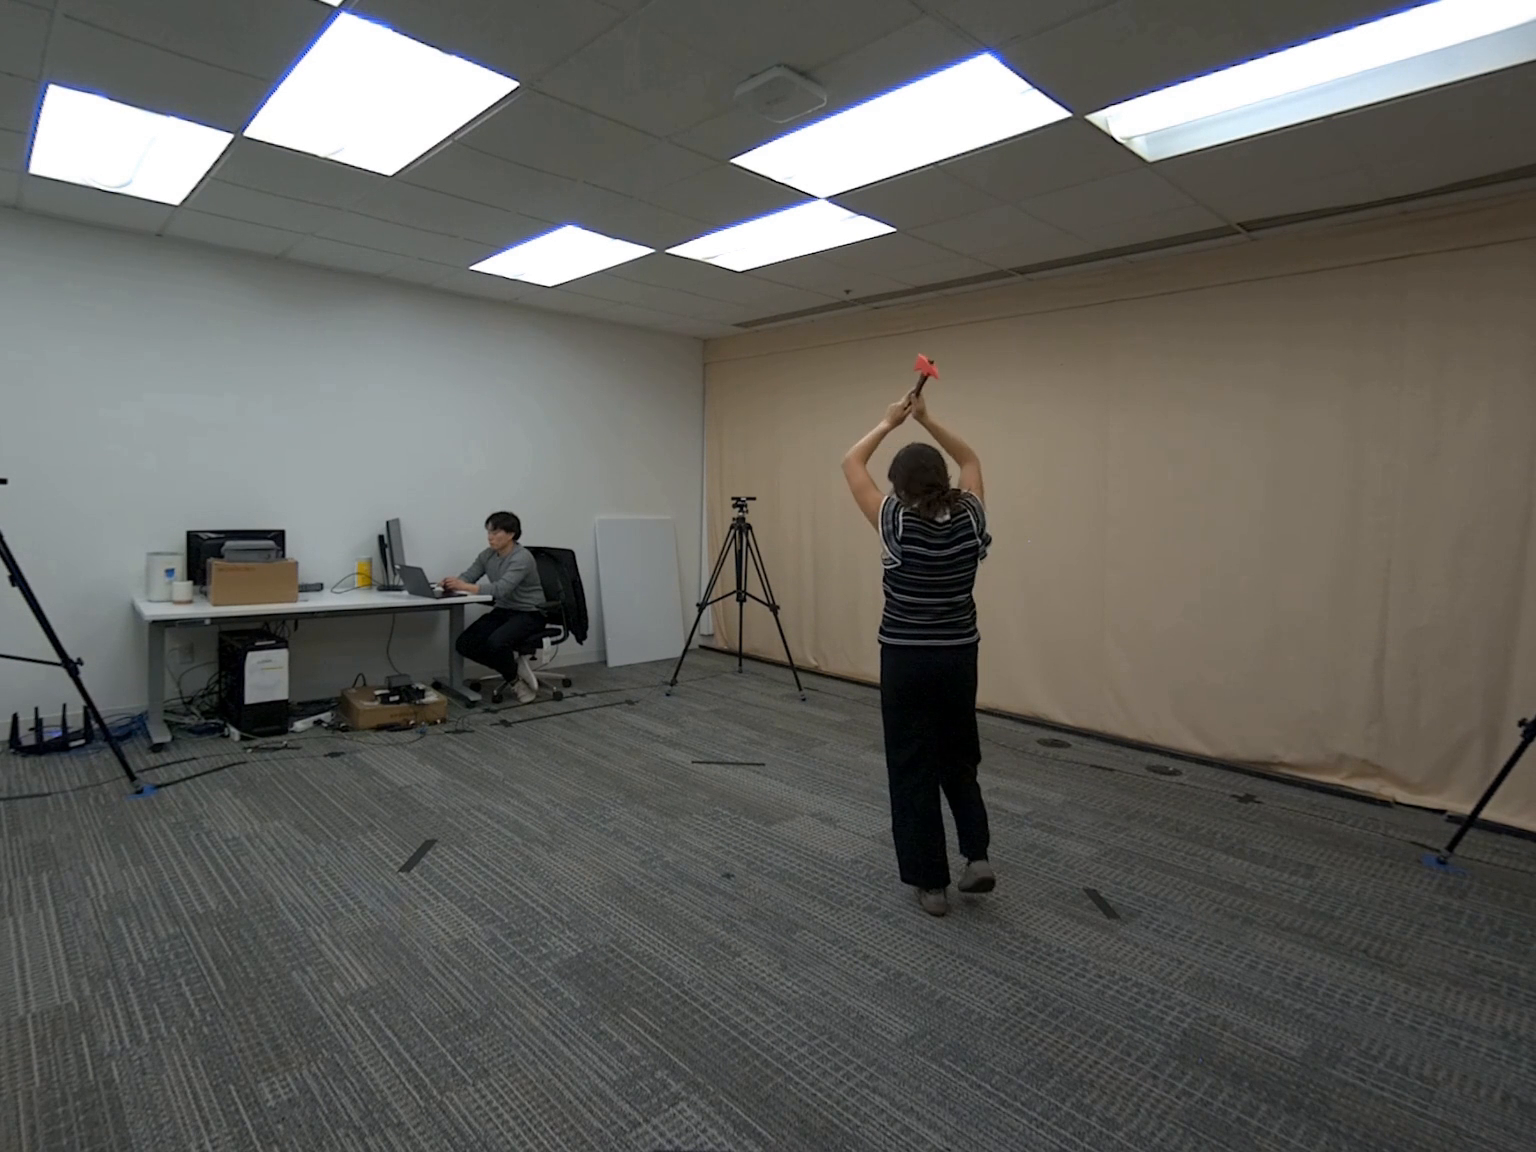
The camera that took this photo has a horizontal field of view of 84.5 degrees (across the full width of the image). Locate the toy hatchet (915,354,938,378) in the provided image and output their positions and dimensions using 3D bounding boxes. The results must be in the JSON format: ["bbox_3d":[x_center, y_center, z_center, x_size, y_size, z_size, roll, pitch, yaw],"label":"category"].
[{"bbox_3d":[0.505,-0.680,2.969,0.029,0.133,0.270,-6,-20,-25],"label":"toy hatchet"}]
